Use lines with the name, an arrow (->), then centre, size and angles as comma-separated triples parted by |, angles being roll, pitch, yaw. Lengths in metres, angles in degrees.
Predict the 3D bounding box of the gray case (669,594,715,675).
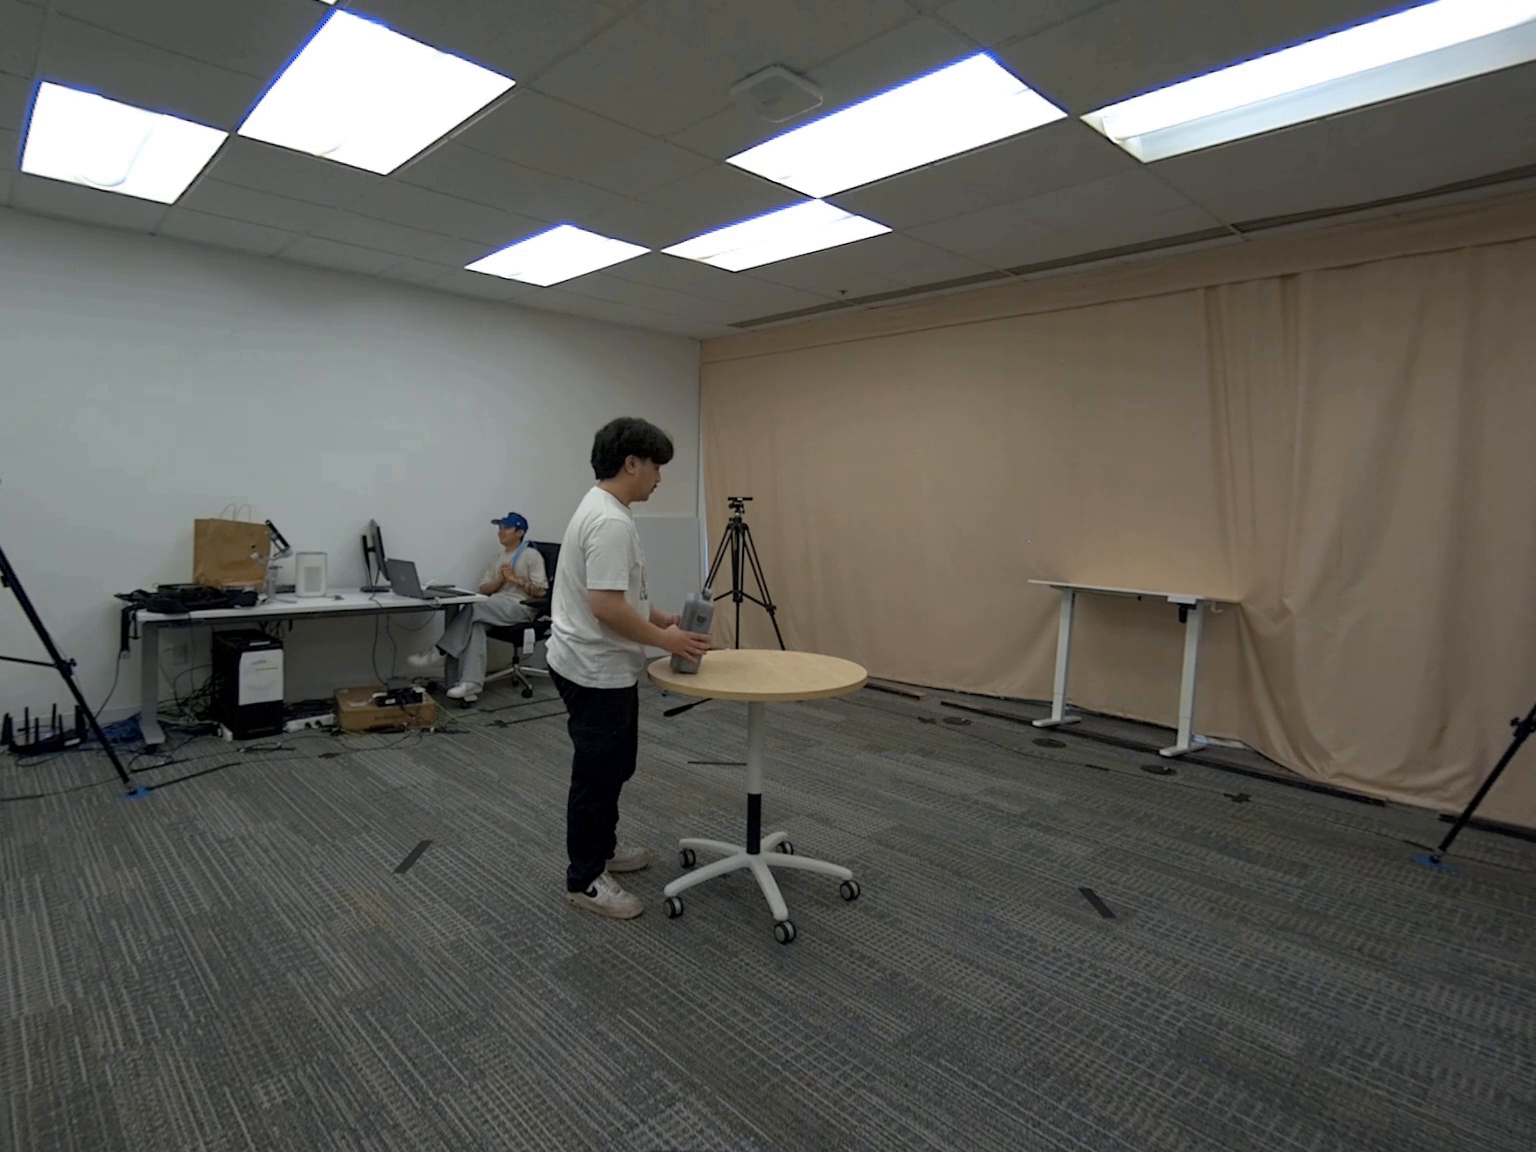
gray case -> -0.268, 0.191, 2.938 | 0.104, 0.260, 0.258 | 11, 5, -5
